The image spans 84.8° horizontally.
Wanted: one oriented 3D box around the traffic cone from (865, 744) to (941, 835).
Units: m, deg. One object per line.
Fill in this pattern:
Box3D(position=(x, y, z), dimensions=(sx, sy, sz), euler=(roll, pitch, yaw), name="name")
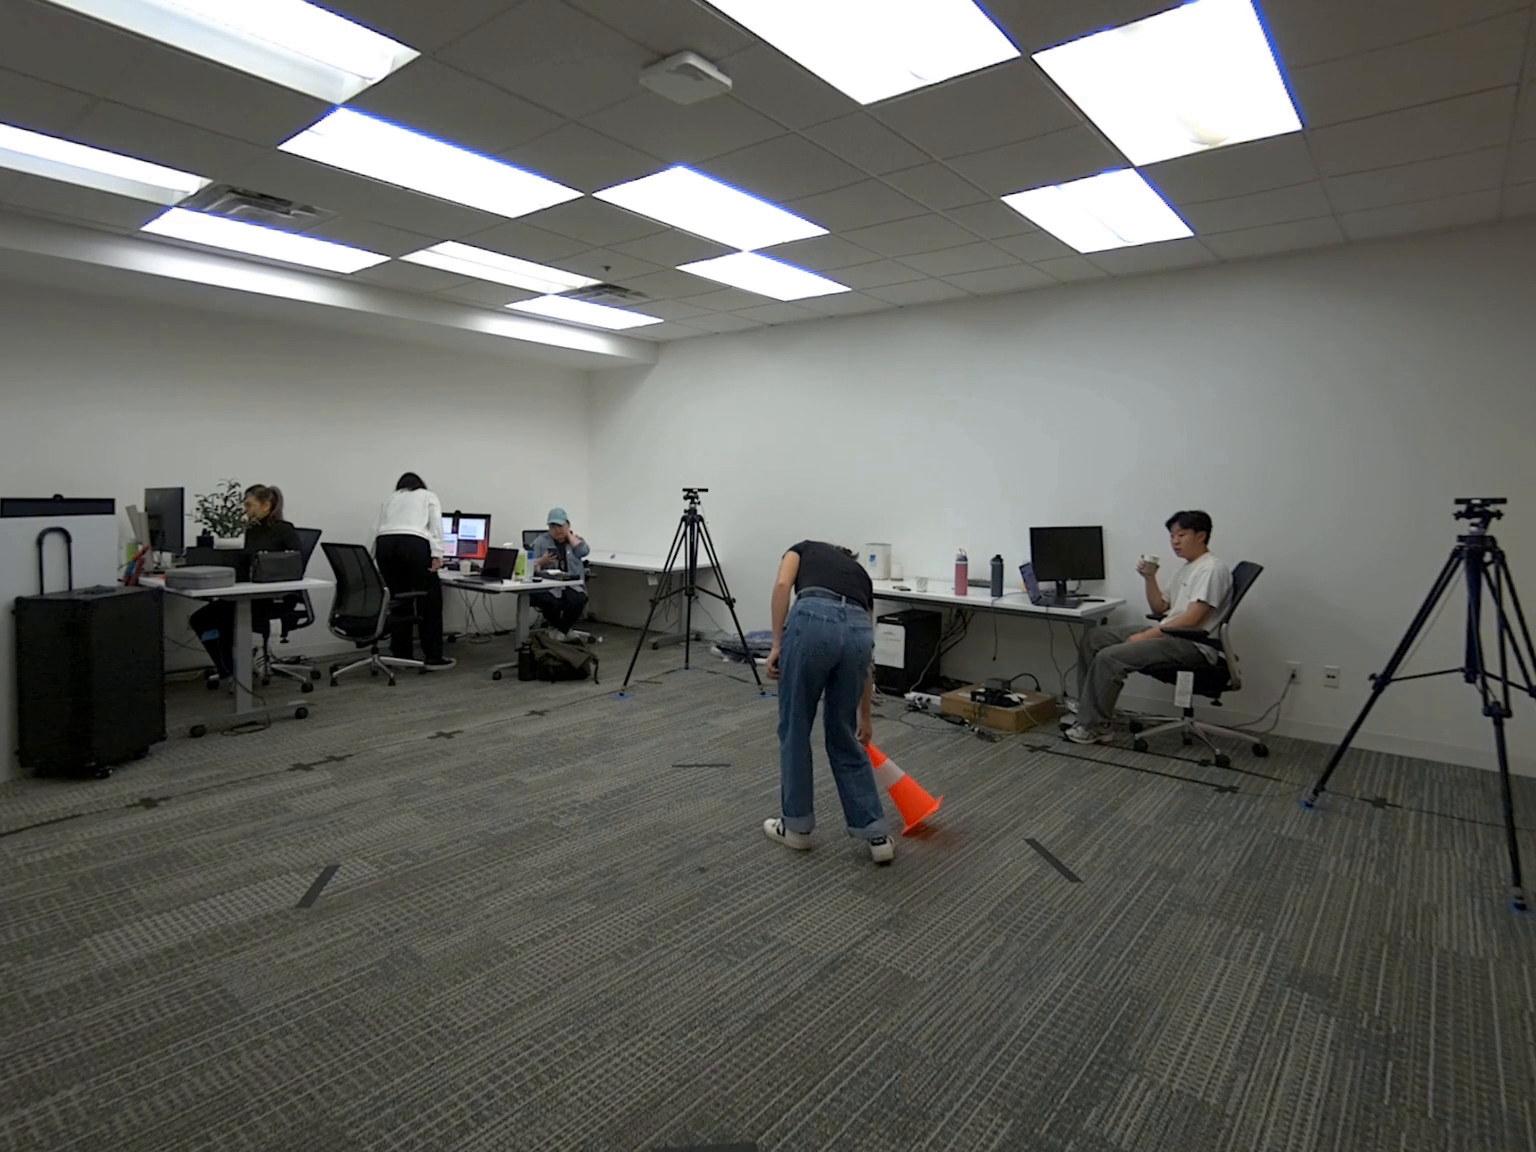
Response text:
Box3D(position=(0.530, 0.836, 3.559), dimensions=(0.205, 0.391, 0.199), euler=(-44, -14, 18), name="traffic cone")
